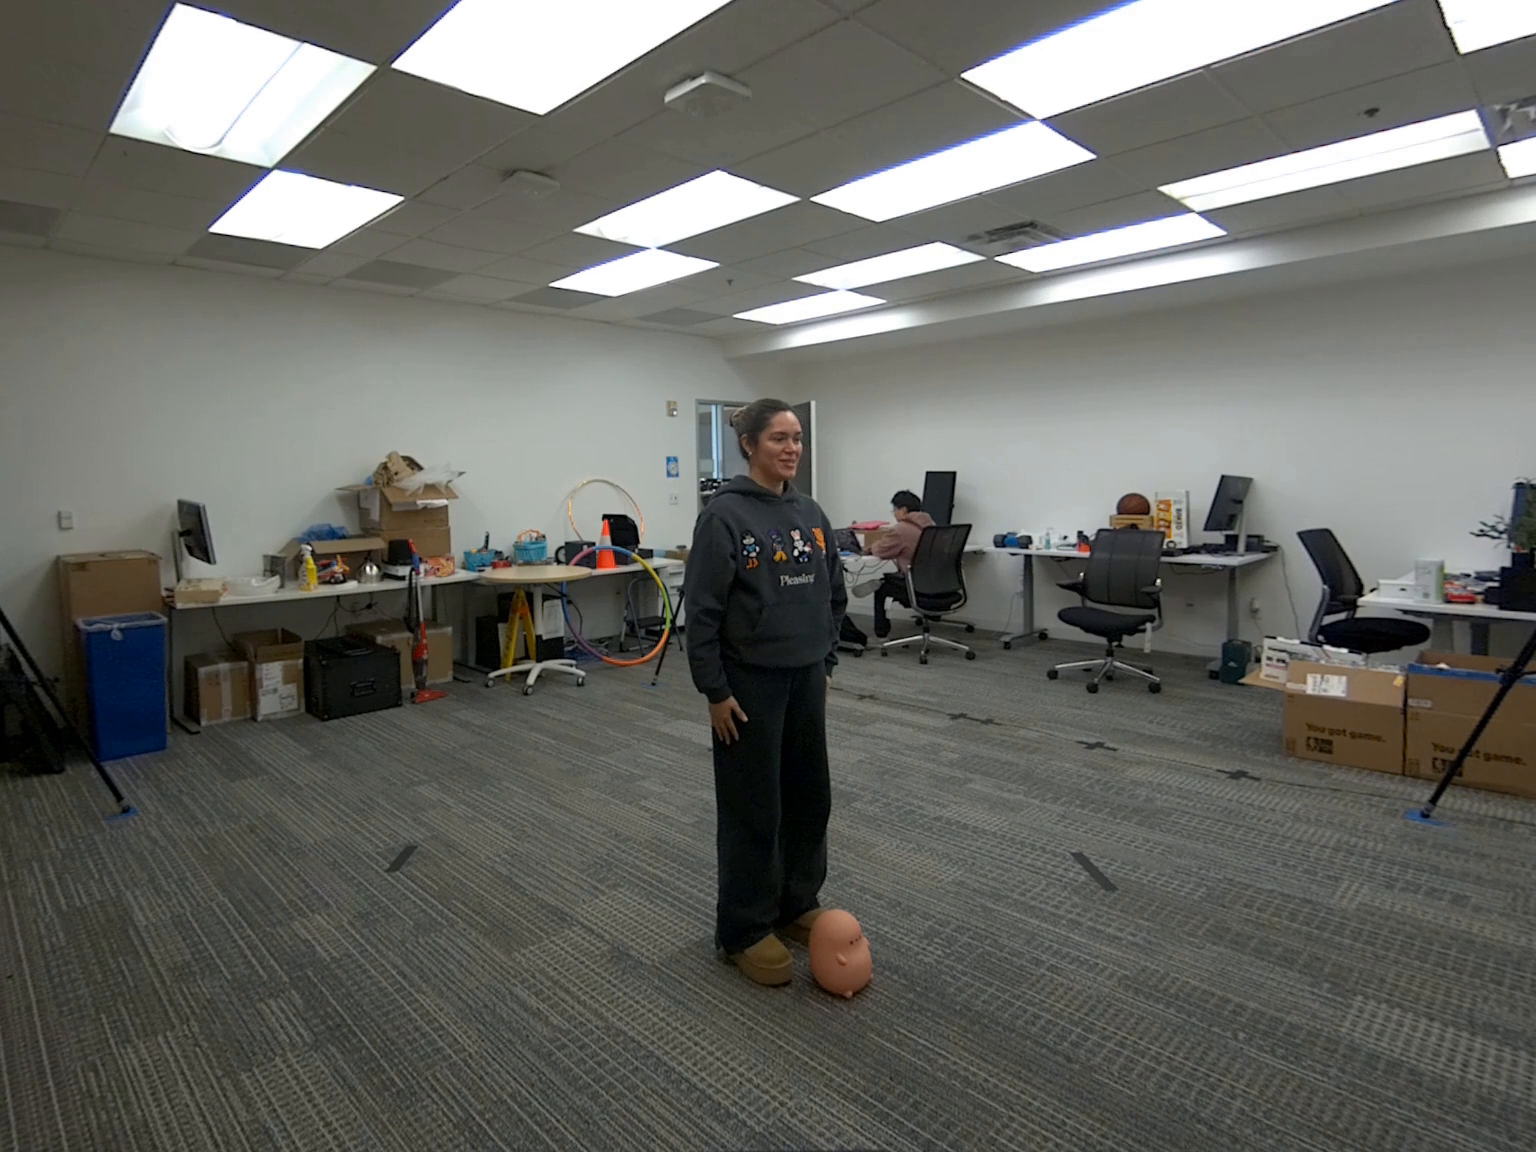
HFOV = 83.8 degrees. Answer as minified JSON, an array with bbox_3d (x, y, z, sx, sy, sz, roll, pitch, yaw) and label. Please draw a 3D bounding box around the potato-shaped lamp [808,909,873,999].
[{"bbox_3d":[0.197,1.018,2.345,0.177,0.197,0.160,5,8,42],"label":"potato-shaped lamp"}]
